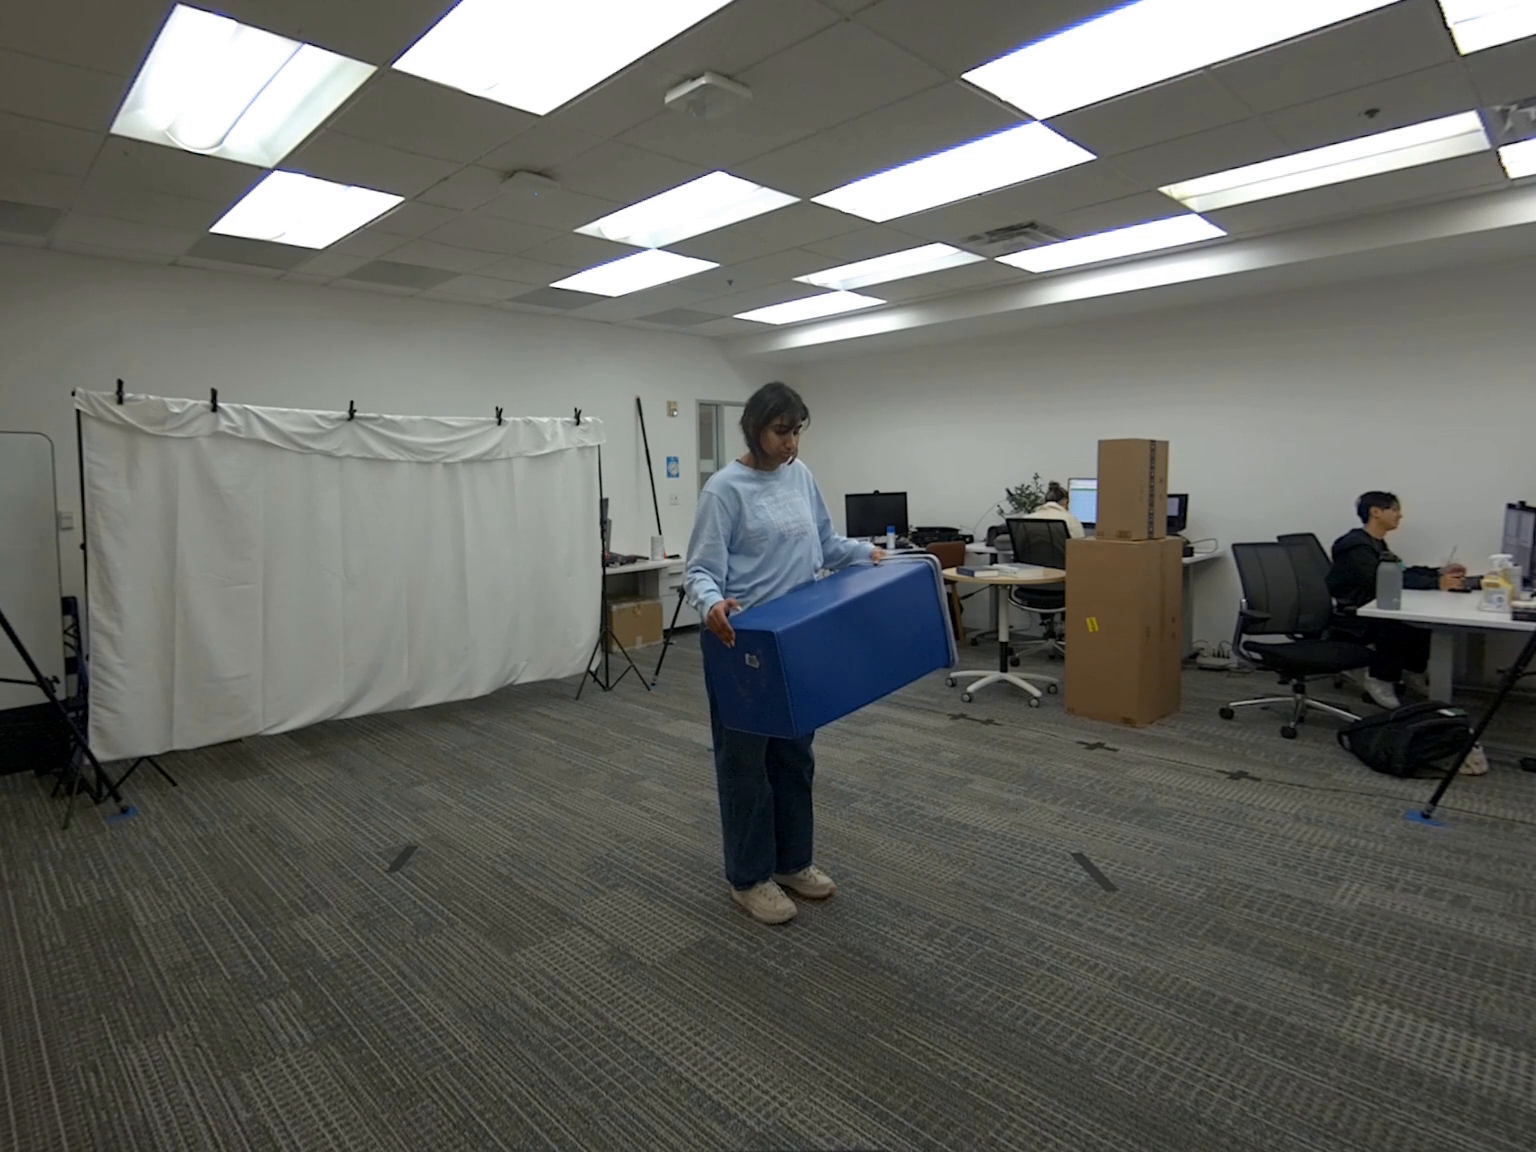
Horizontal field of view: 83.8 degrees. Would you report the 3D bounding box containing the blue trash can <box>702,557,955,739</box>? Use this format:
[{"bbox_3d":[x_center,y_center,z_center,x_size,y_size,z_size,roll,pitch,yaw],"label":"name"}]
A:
[{"bbox_3d":[0.190,0.201,2.564,0.699,0.371,0.388,-18,10,-42],"label":"blue trash can"}]
